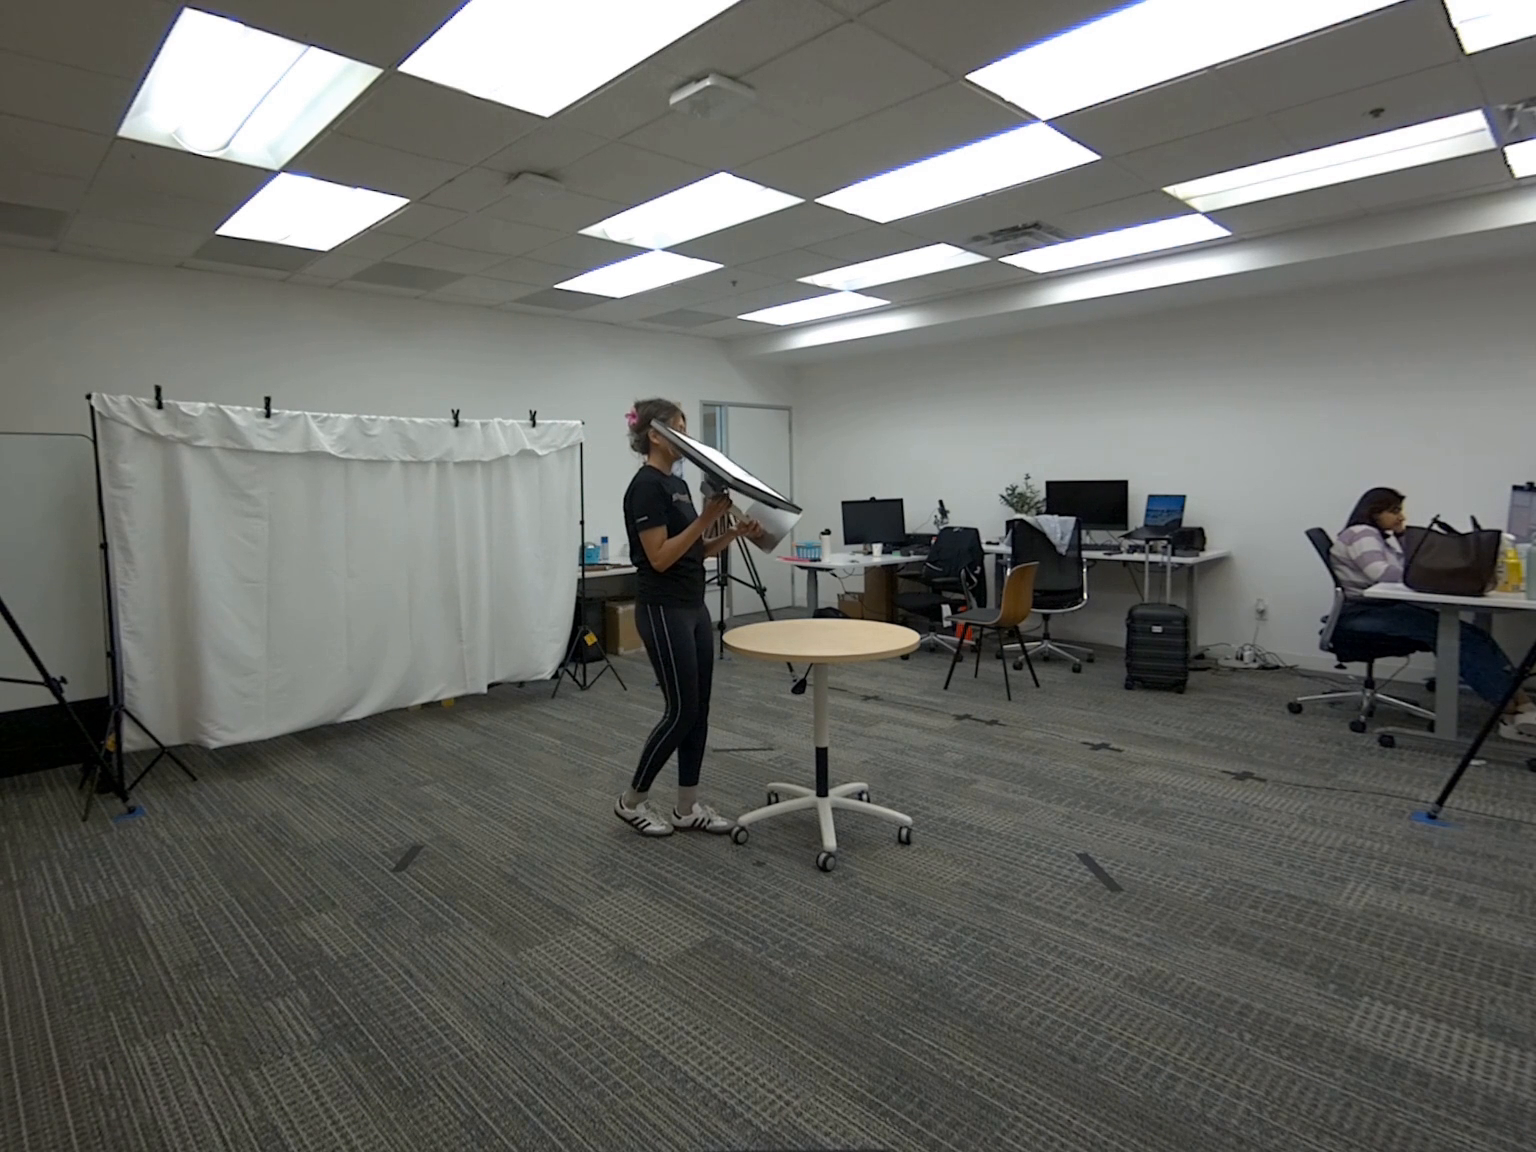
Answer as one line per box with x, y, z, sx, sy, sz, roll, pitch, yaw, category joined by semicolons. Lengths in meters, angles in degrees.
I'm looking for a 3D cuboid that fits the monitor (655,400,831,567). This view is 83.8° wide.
-0.125;-0.343;3.158;0.502;0.187;0.561;37;2;-45;monitor
